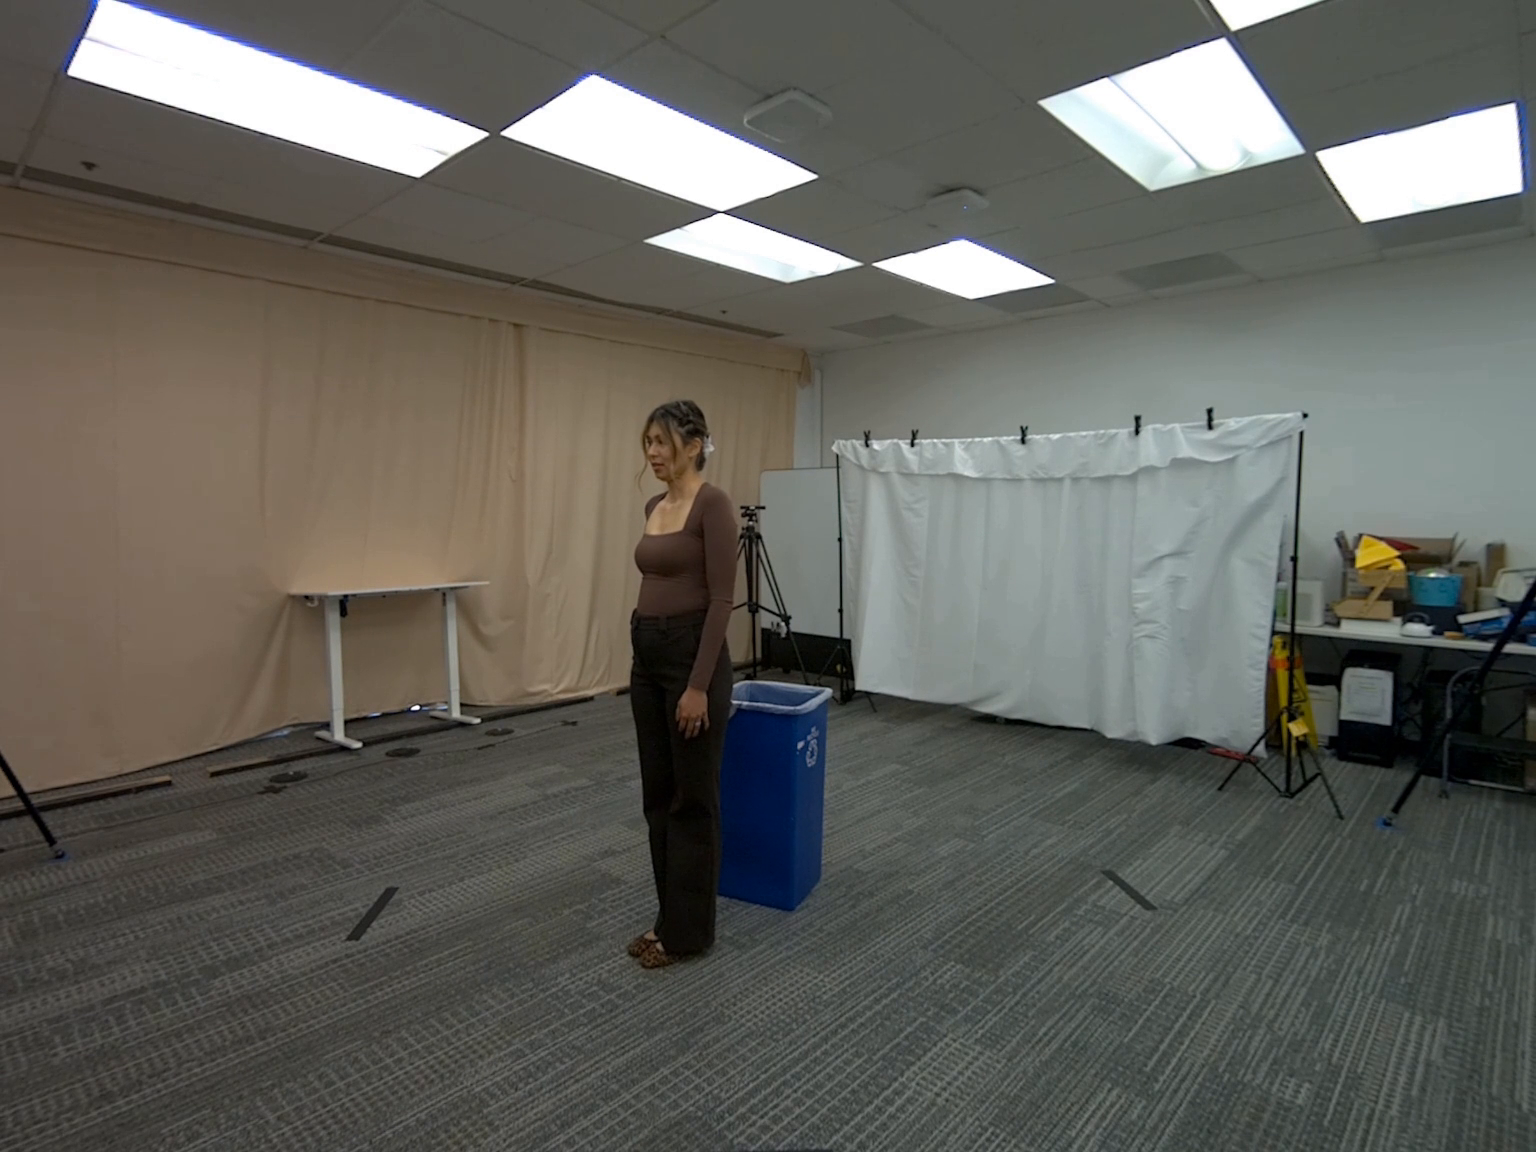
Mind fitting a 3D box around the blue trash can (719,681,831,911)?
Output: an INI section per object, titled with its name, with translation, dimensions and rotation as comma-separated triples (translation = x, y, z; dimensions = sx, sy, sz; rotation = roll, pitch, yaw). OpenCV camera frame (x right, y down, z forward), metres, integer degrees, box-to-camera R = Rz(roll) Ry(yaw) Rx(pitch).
[blue trash can]
translation = 0.006, 0.778, 3.063
dimensions = 0.383, 0.712, 0.369
rotation = 3, 4, 24
